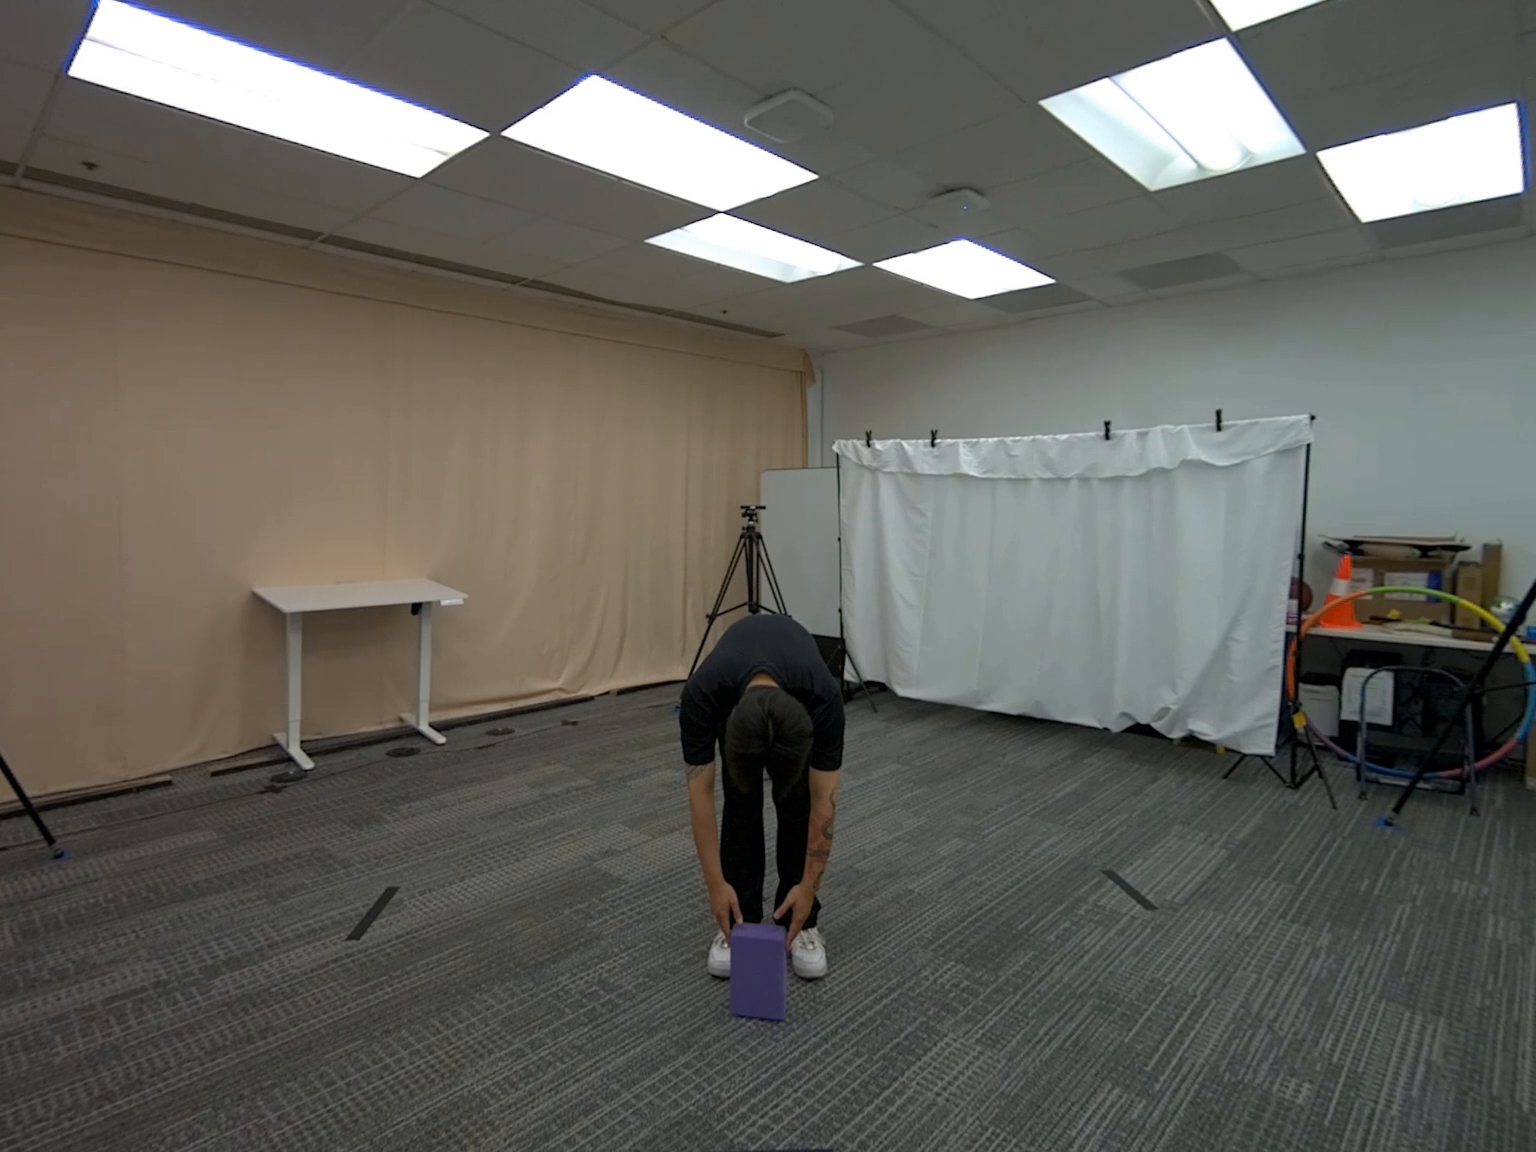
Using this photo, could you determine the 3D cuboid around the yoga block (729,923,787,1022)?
[{"bbox_3d":[-0.025,1.081,2.314,0.150,0.229,0.076,0,3,9],"label":"yoga block"}]
